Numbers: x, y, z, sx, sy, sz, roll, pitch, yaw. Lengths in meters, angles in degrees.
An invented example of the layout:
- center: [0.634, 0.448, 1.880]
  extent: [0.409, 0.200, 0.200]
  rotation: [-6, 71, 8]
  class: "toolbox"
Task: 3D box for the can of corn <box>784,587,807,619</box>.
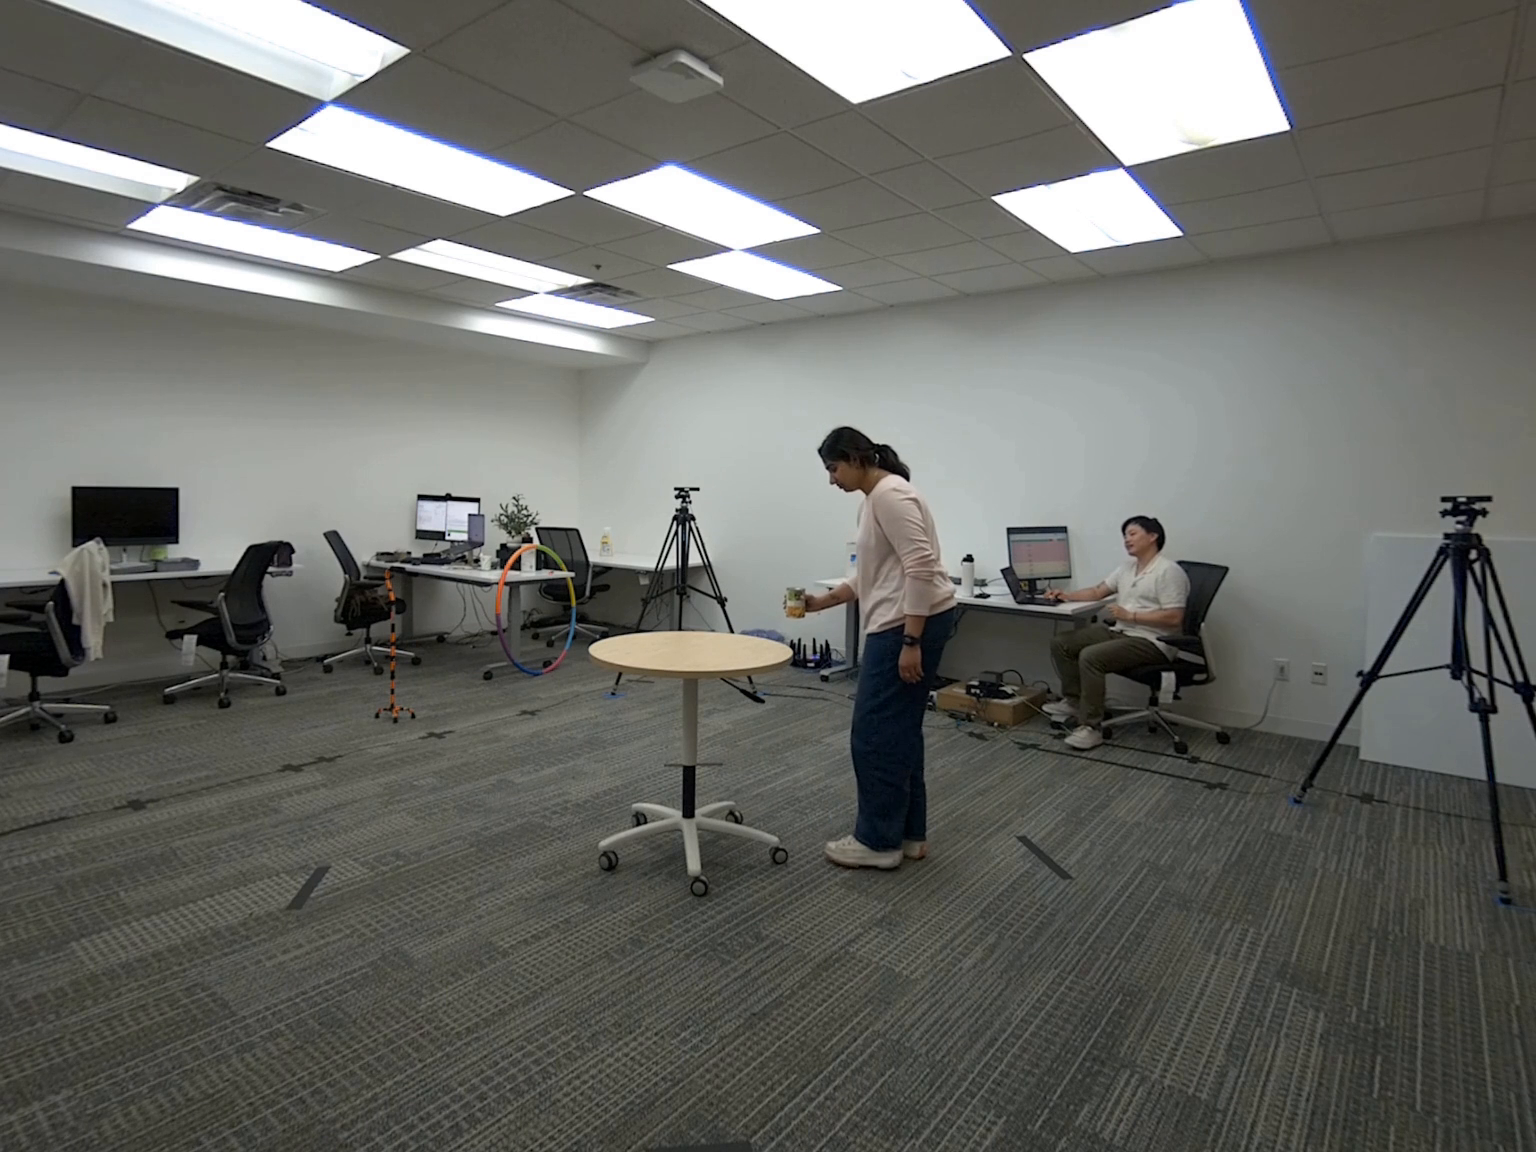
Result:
- center: [0.099, 0.100, 3.361]
  extent: [0.074, 0.111, 0.074]
  rotation: [0, 2, -2]
  class: "can of corn"
